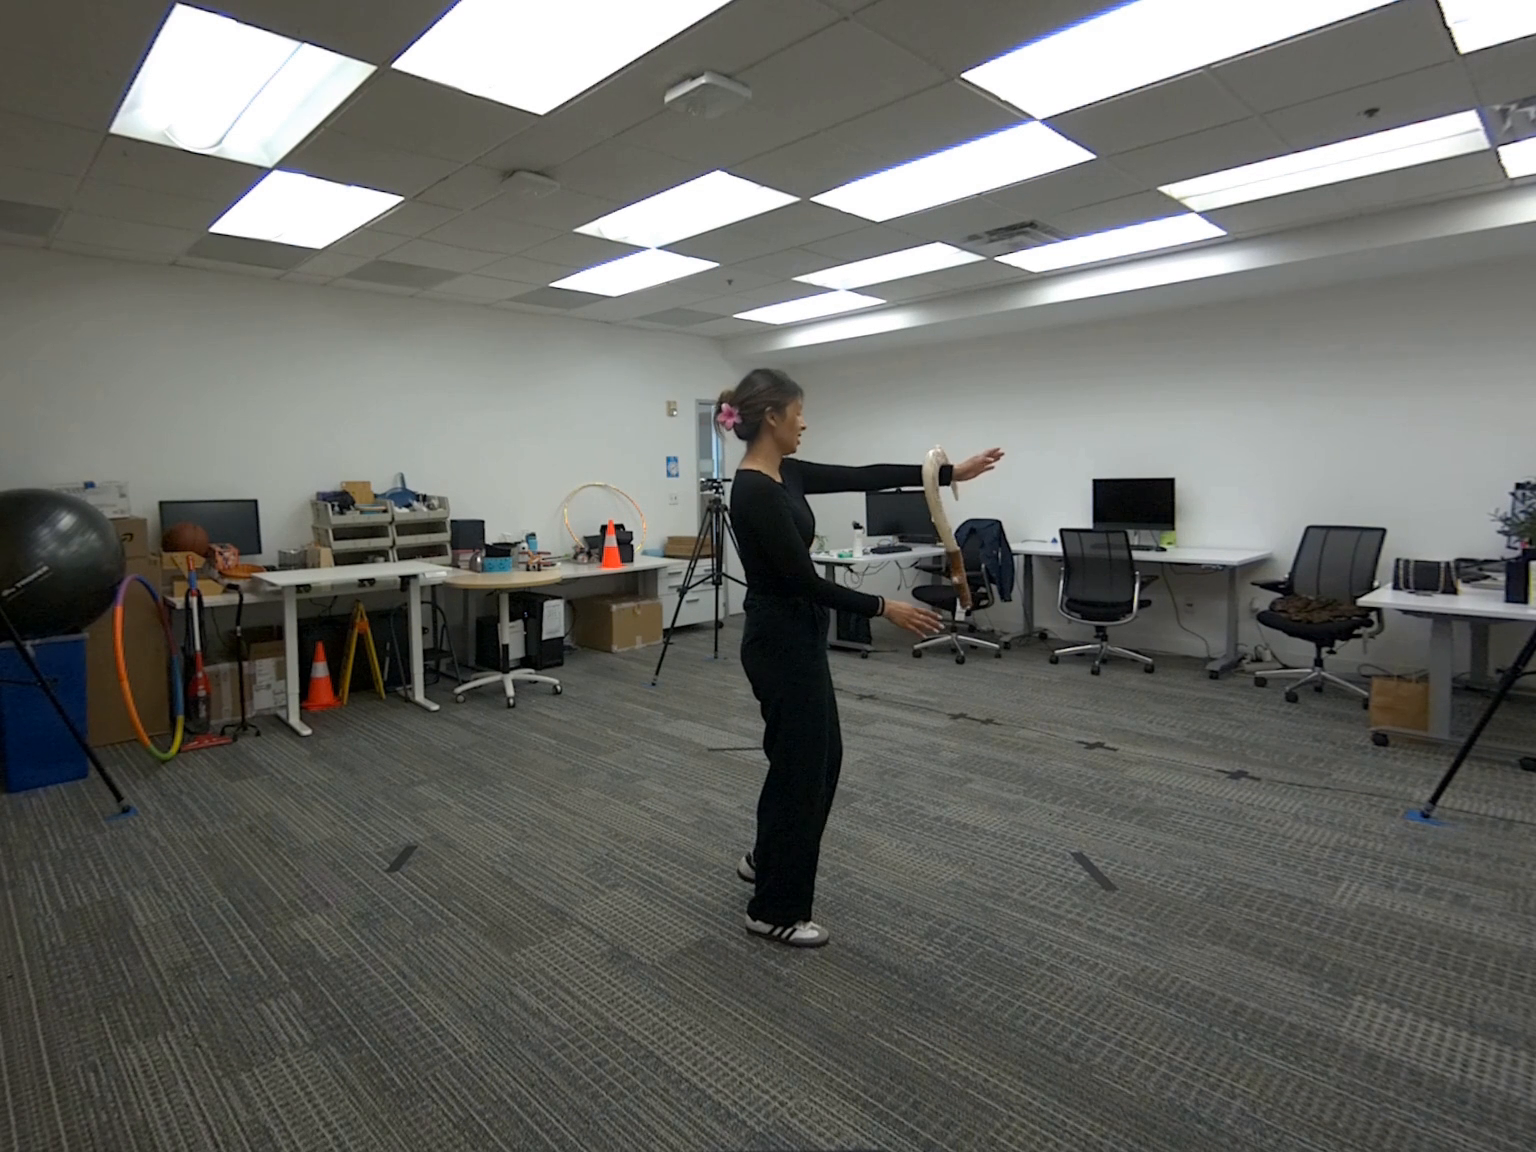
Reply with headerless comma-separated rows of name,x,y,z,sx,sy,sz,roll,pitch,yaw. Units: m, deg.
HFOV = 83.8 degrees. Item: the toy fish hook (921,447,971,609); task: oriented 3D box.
toy fish hook,0.561,-0.140,2.629,0.049,0.499,0.222,-6,17,40
